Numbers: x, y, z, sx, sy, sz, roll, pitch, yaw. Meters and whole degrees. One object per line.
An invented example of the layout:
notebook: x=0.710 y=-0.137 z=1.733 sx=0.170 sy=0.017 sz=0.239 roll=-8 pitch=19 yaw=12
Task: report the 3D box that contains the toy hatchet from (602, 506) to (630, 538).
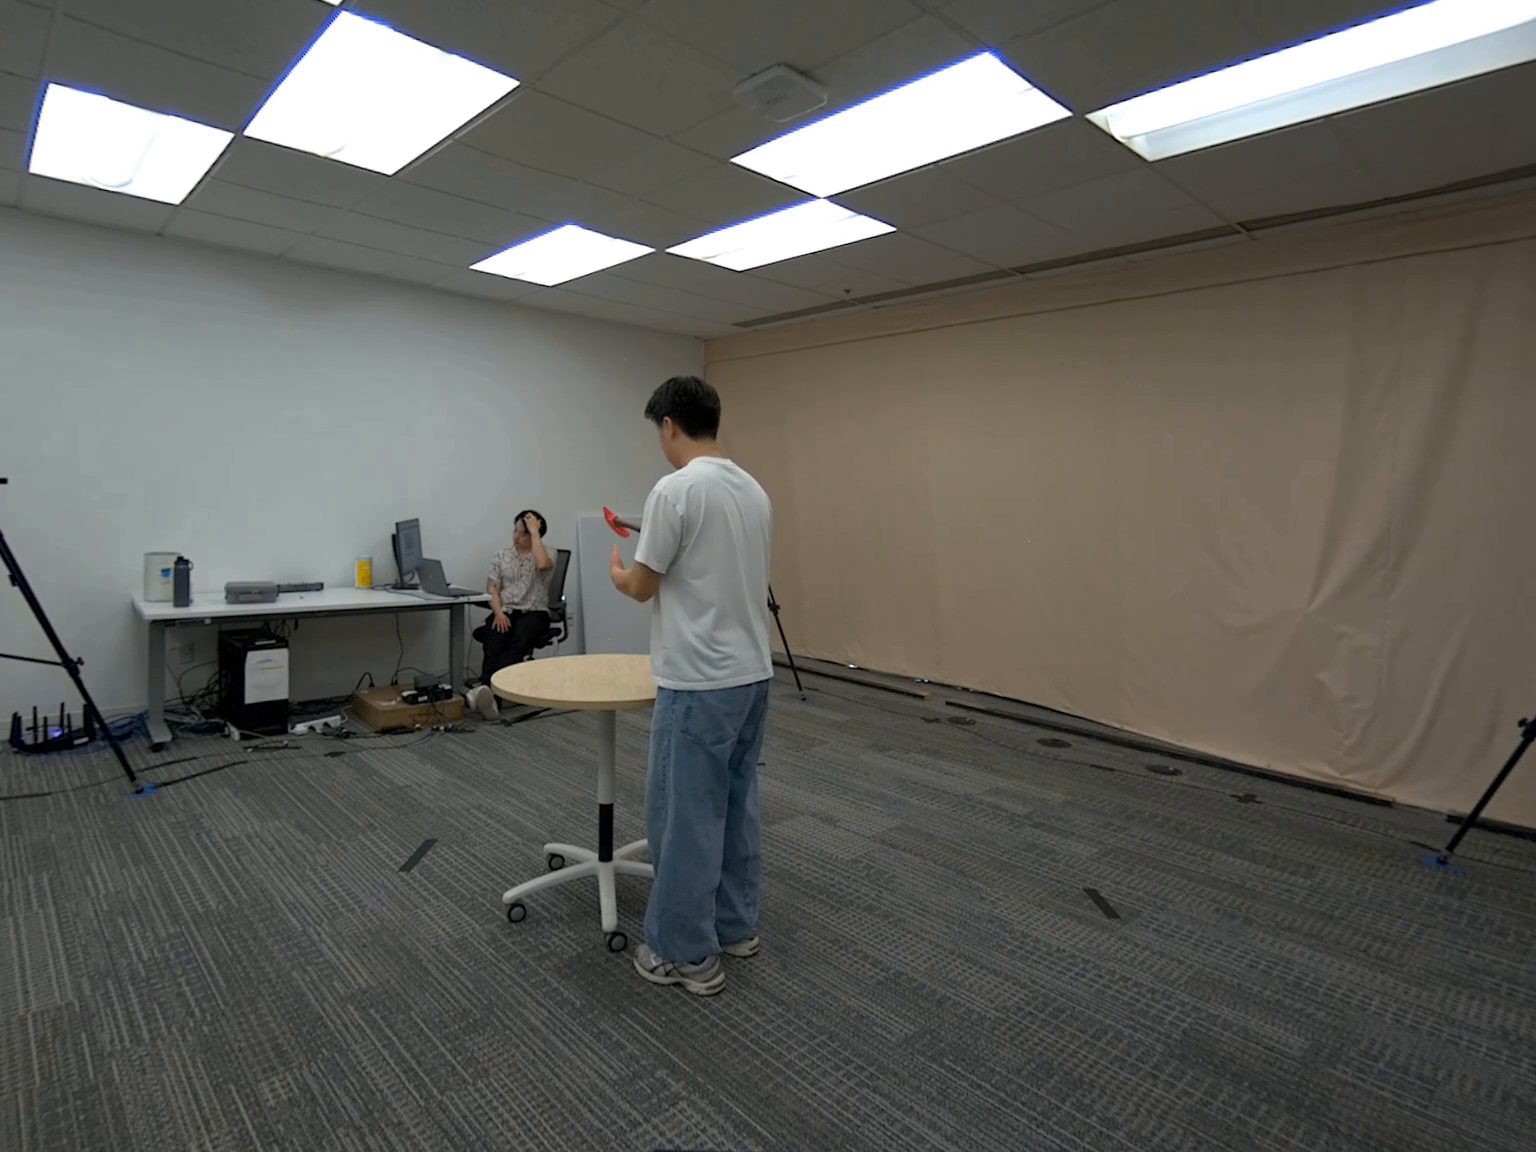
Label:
toy hatchet: x=-0.444 y=-0.095 z=2.787 sx=0.277 sy=0.128 sz=0.029 roll=31 pitch=60 yaw=30
